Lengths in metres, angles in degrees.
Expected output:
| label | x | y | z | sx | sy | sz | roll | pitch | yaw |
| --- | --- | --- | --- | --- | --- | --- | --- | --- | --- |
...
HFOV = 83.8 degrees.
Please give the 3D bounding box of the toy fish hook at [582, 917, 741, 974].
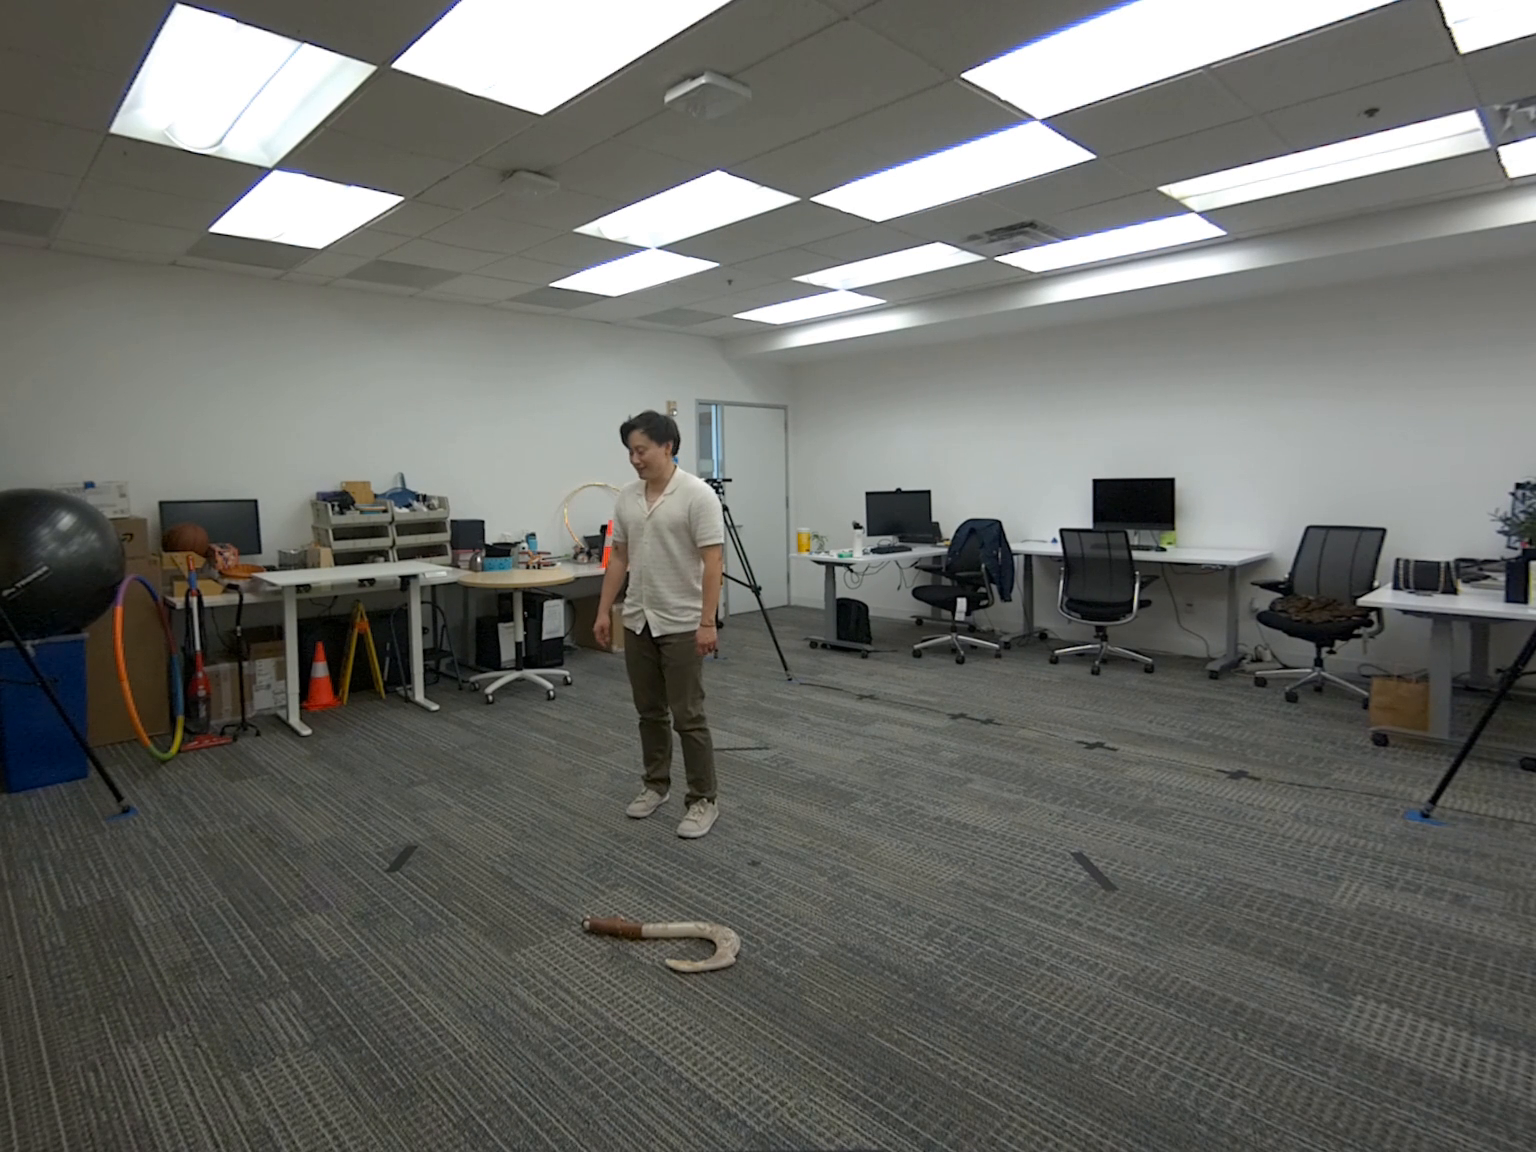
| label | x | y | z | sx | sy | sz | roll | pitch | yaw |
| --- | --- | --- | --- | --- | --- | --- | --- | --- | --- |
| toy fish hook | -0.334 | 1.095 | 2.549 | 0.512 | 0.048 | 0.223 | 0 | 5 | 12 |
